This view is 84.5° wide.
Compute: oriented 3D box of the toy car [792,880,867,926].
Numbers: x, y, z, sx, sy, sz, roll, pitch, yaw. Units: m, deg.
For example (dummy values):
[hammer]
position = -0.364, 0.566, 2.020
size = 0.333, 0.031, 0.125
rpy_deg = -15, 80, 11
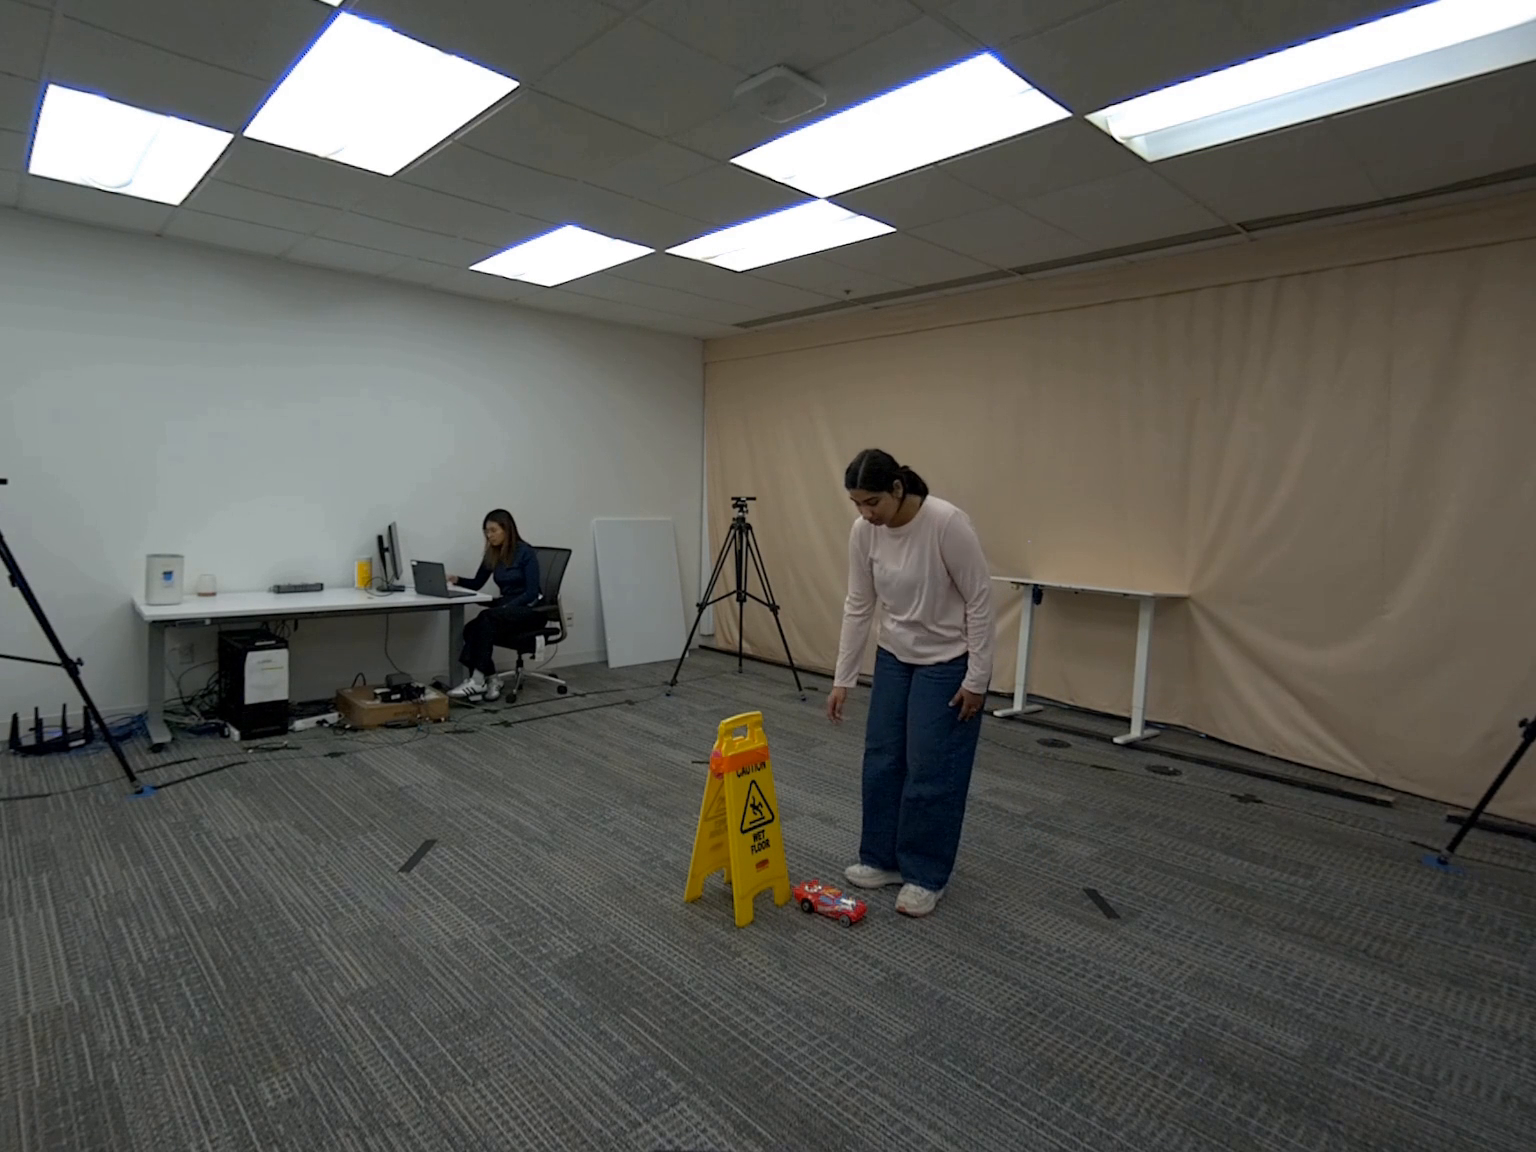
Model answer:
[toy car]
position = 0.197, 1.102, 2.847
size = 0.262, 0.083, 0.127
rpy_deg = 18, 13, 35
